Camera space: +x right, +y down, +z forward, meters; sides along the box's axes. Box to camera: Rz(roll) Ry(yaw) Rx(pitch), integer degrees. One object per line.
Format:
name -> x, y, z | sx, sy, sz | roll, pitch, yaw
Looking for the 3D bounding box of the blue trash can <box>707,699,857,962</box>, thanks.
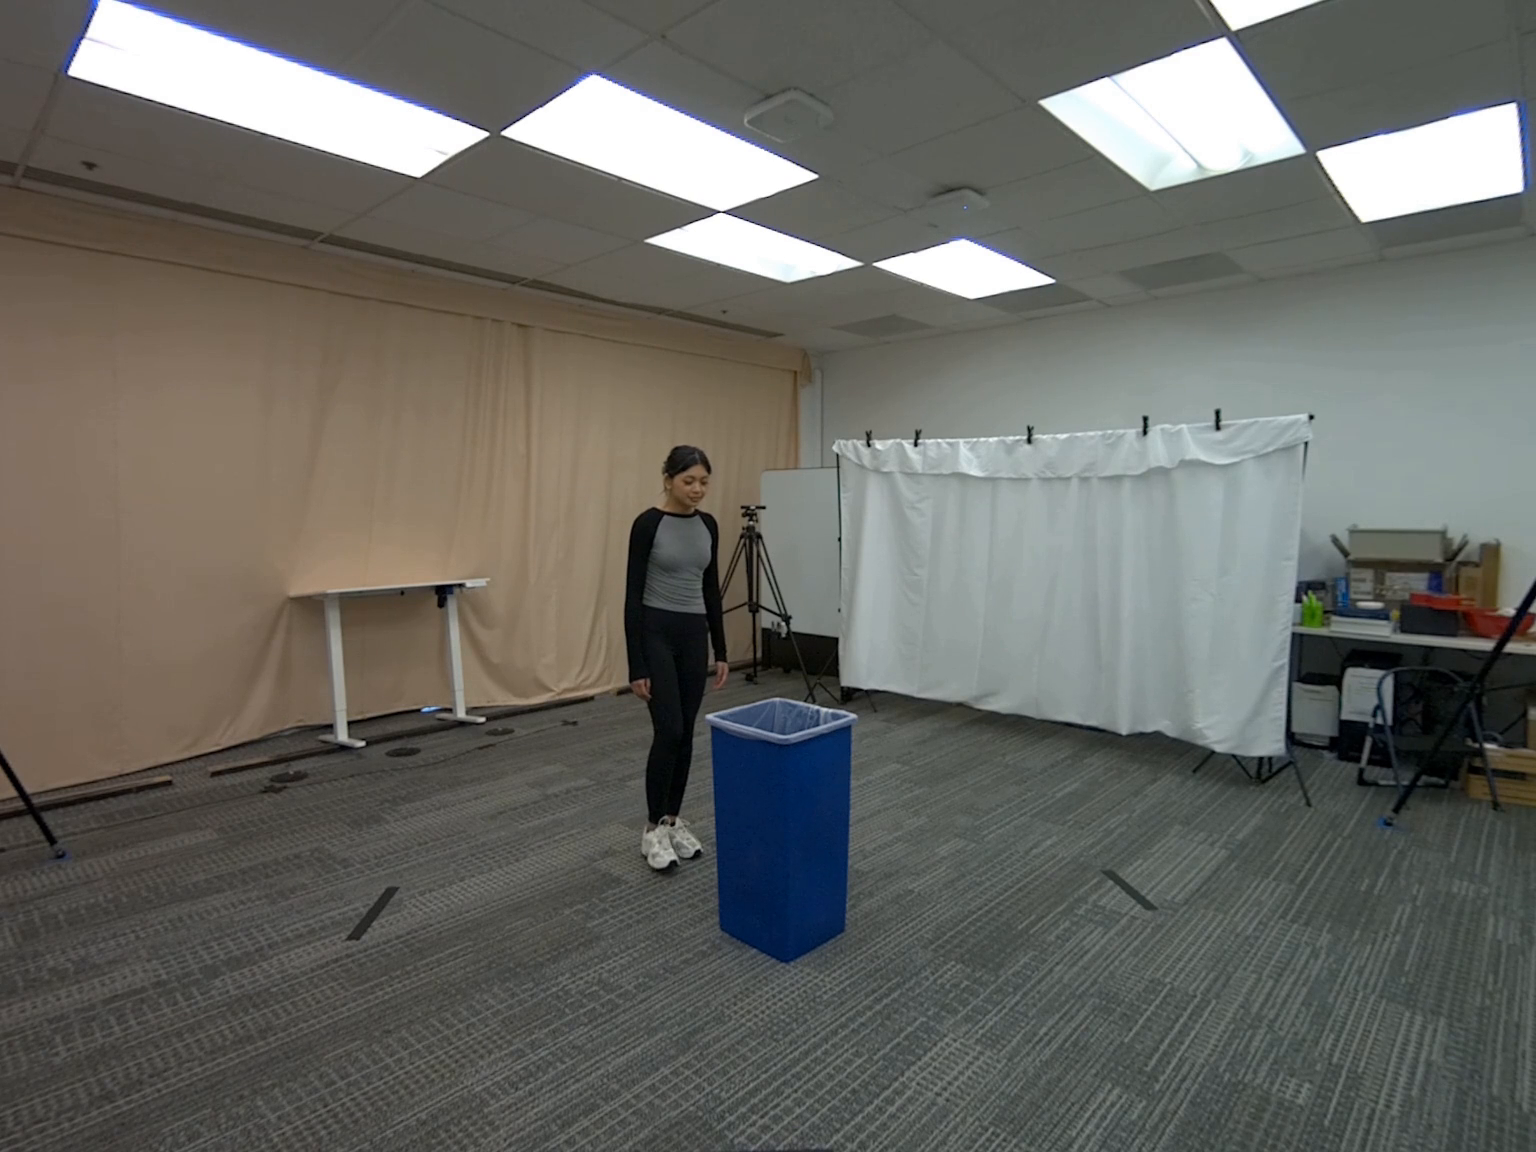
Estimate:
blue trash can -> 0.049, 0.807, 2.738 | 0.391, 0.712, 0.362 | 3, 4, 44
